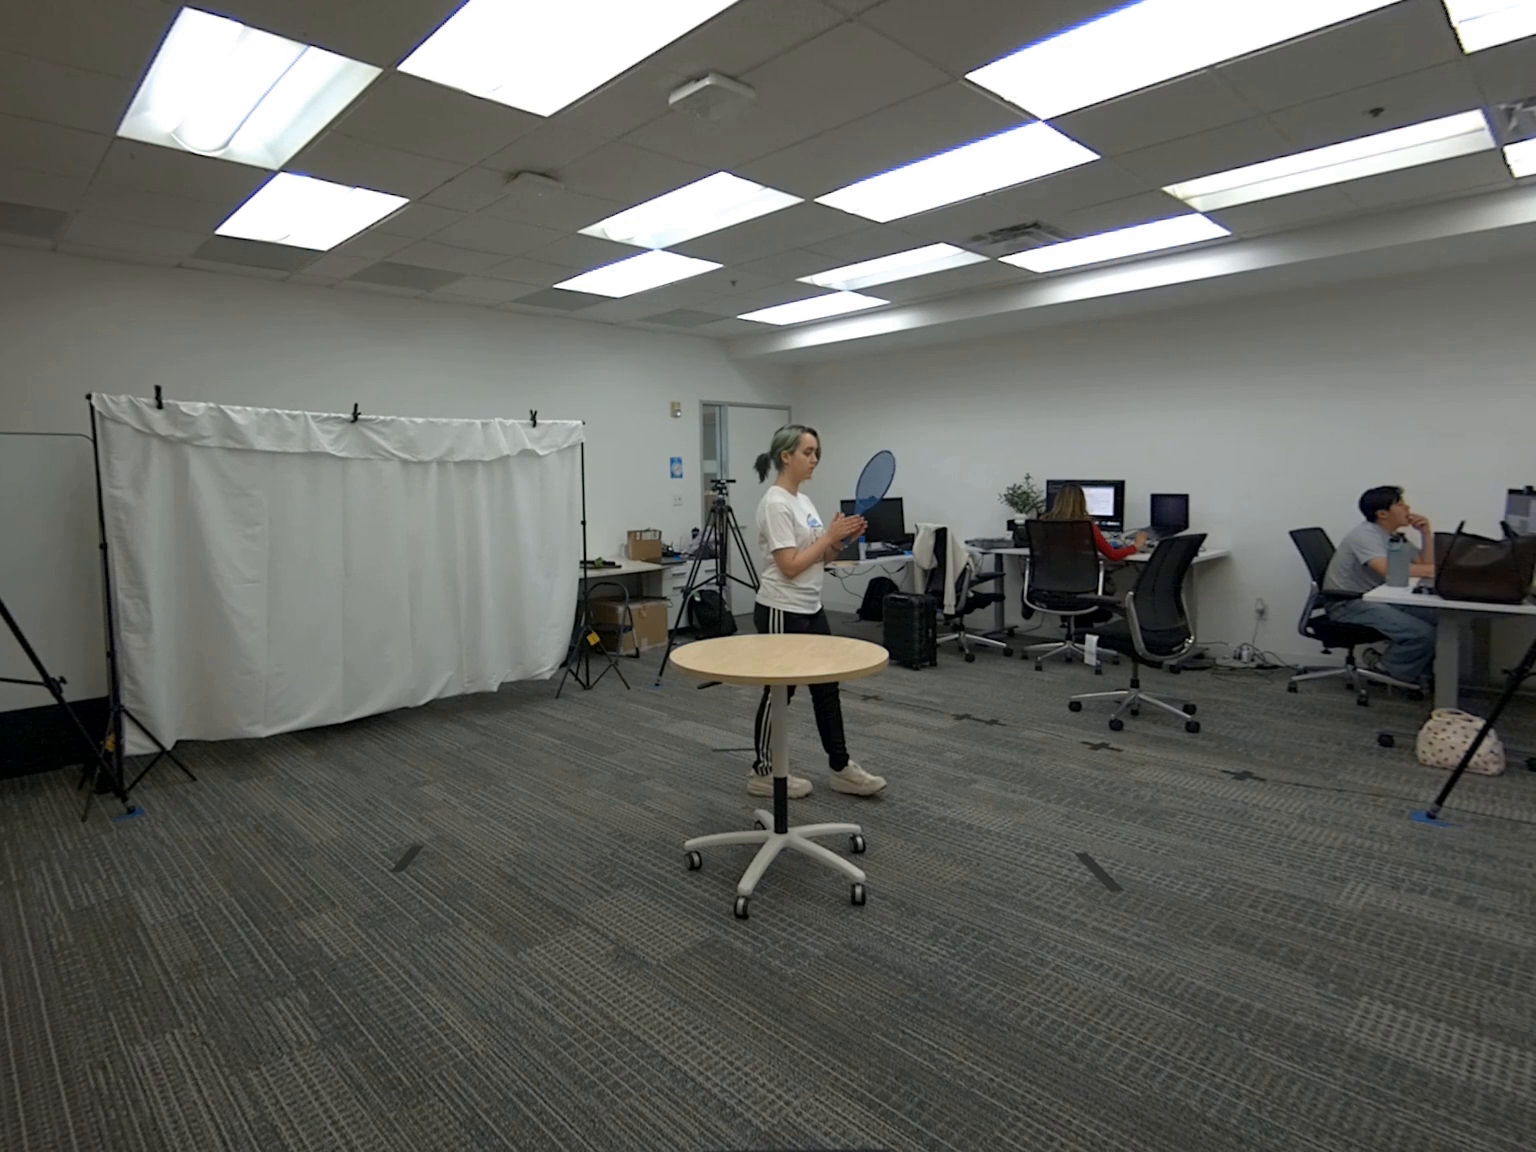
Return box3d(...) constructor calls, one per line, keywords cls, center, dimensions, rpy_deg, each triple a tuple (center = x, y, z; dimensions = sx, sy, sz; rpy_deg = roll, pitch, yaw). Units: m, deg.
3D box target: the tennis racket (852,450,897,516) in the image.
box3d(cls="tennis racket", center=(0.410, -0.340, 3.602), dimensions=(0.031, 0.430, 0.222), rpy_deg=(19, 24, -31))
